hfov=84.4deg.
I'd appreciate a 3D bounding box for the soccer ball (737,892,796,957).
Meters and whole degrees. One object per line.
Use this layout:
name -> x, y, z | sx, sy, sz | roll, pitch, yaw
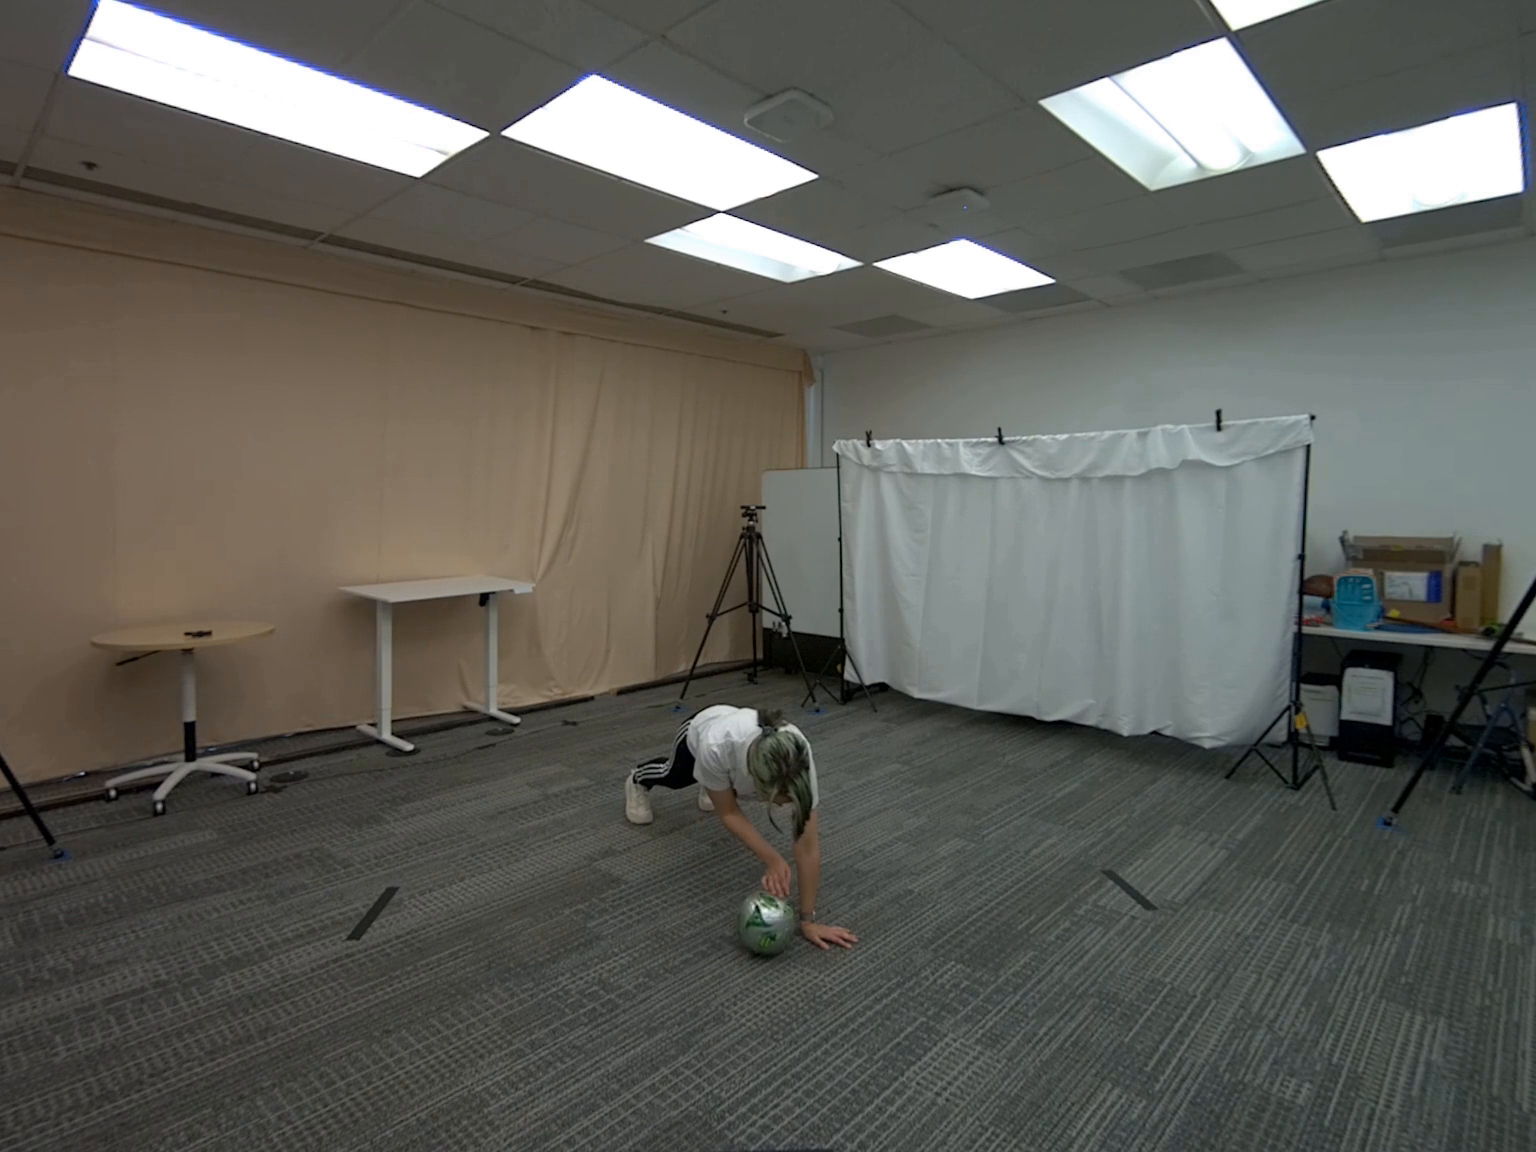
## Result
soccer ball -> -0.011, 1.081, 2.630 | 0.187, 0.187, 0.188 | 0, 4, -2
